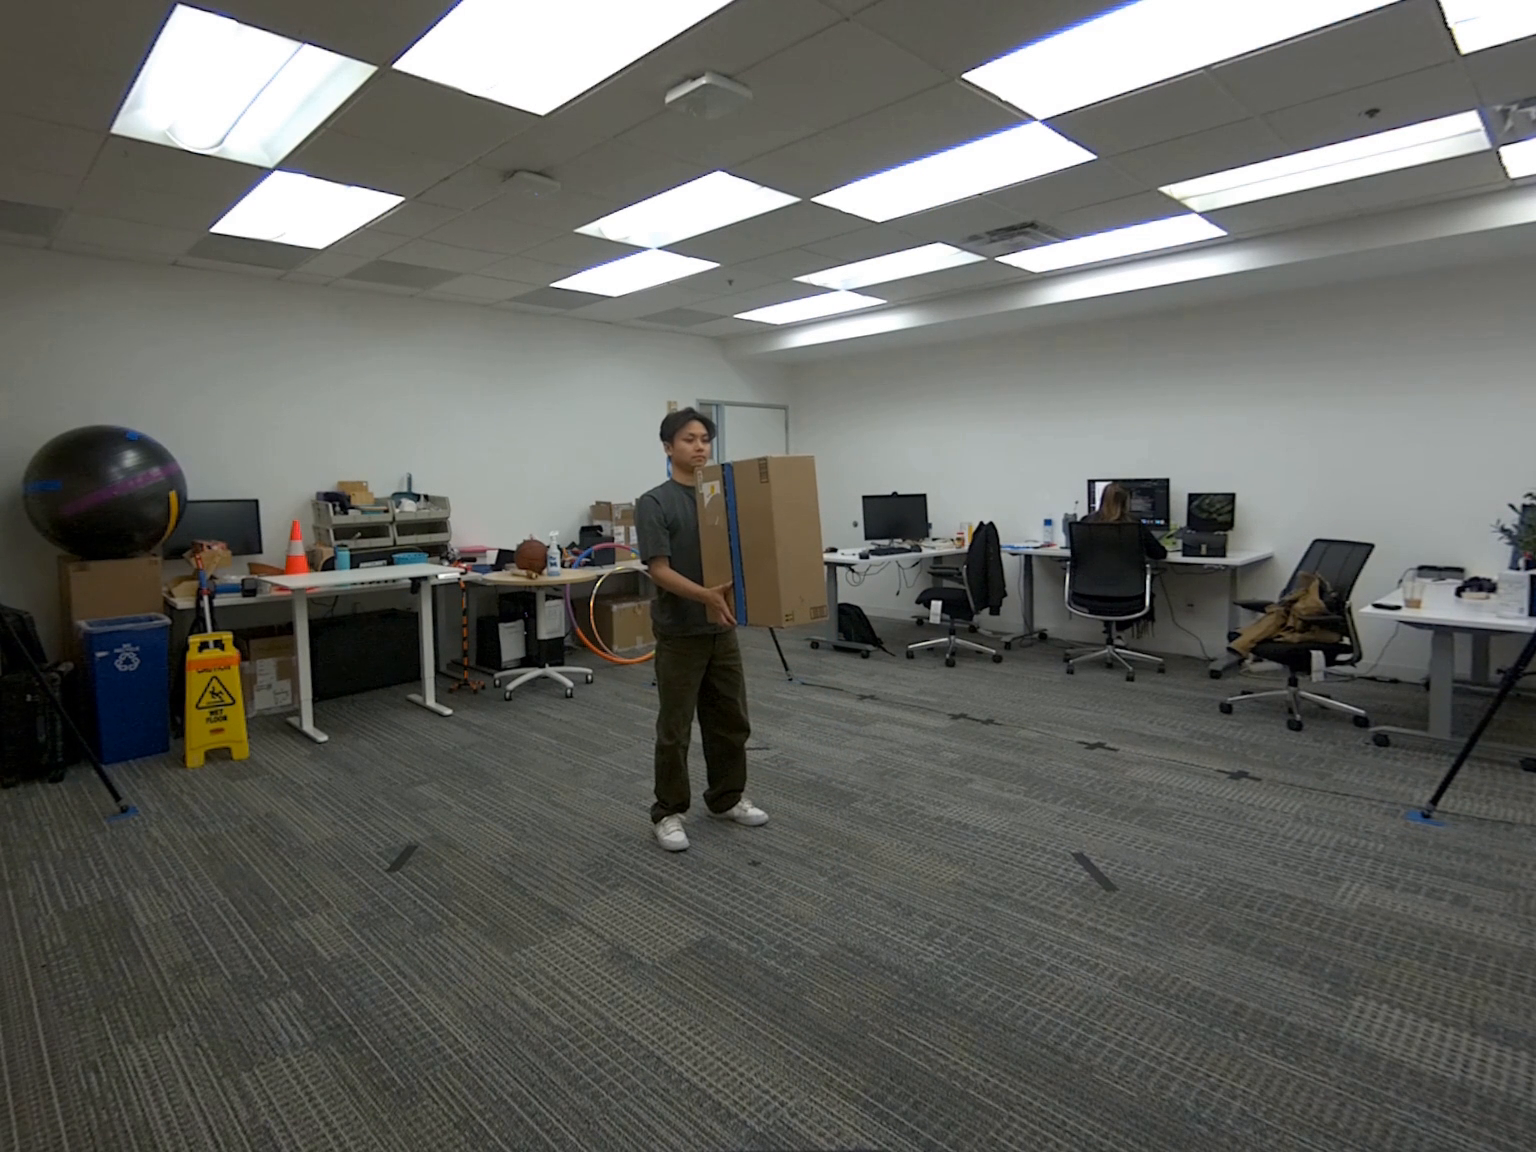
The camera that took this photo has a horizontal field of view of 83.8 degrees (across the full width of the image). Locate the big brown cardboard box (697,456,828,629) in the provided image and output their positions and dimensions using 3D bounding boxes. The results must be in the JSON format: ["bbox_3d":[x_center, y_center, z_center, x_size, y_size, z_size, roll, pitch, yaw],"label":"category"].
[{"bbox_3d":[-0.028,-0.125,3.002,0.227,0.588,0.428,-7,2,-39],"label":"big brown cardboard box"}]
